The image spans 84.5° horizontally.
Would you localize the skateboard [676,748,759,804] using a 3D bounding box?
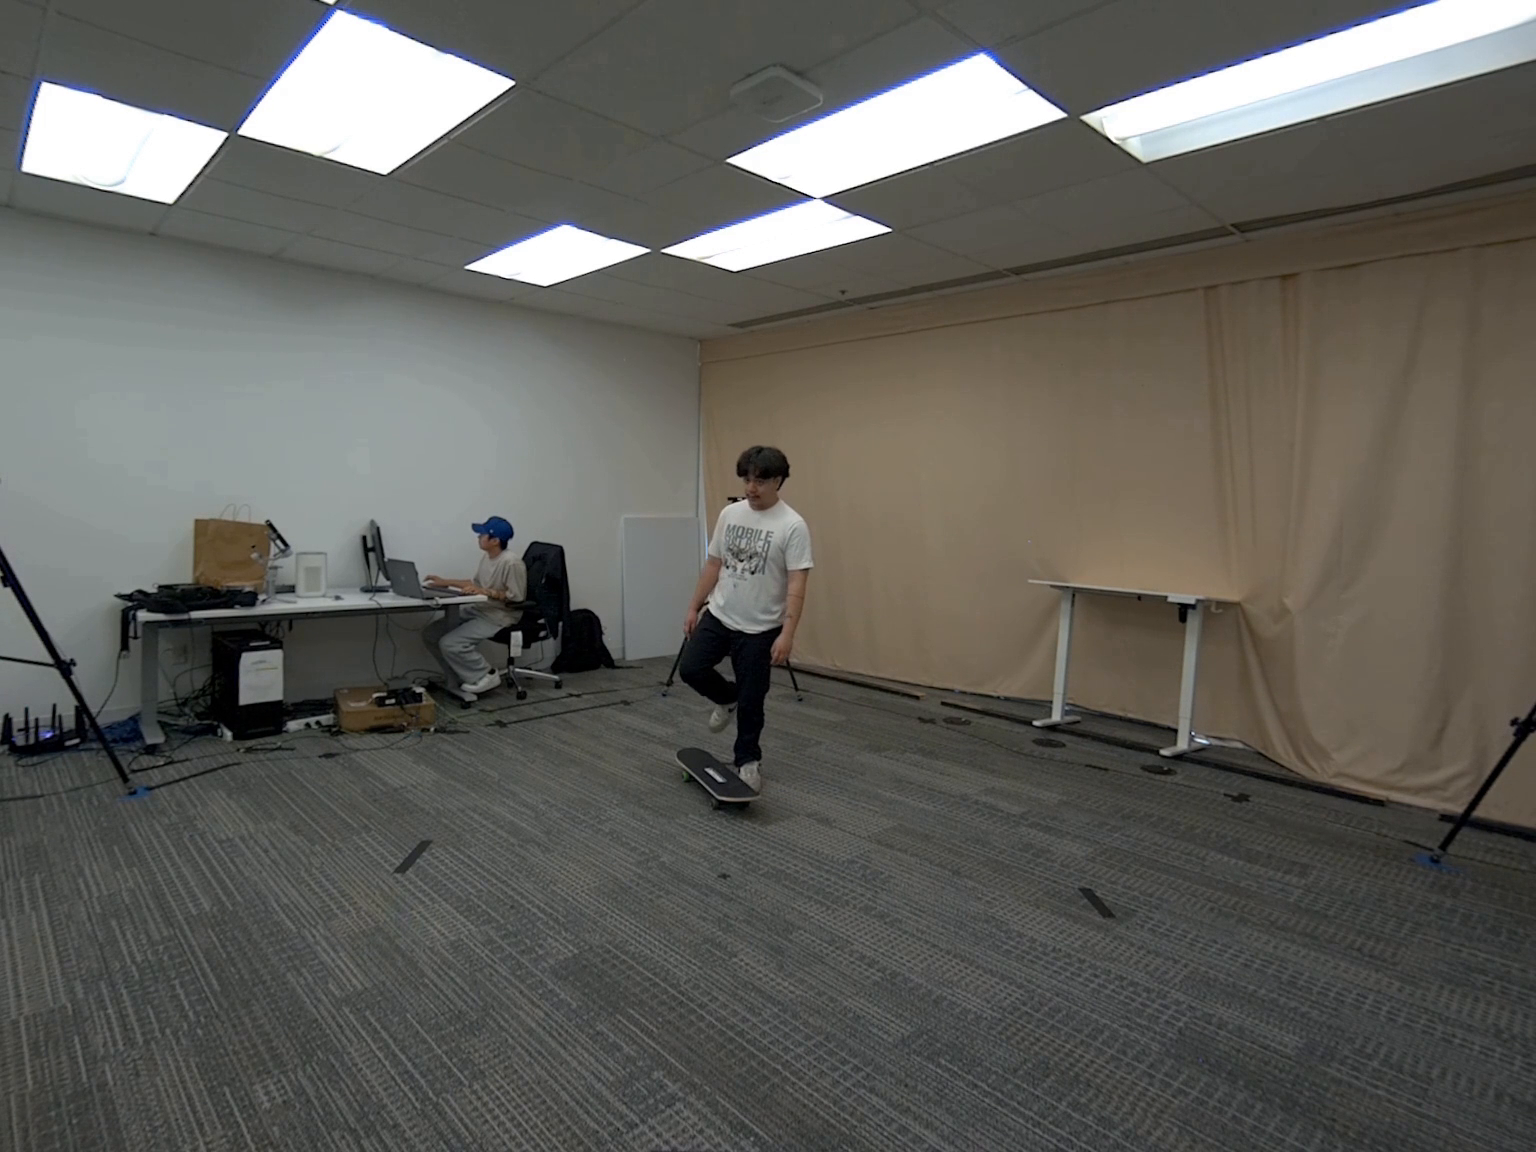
[{"bbox_3d":[-0.265,0.972,3.985,0.190,0.110,0.801,-1,5,-24],"label":"skateboard"}]
